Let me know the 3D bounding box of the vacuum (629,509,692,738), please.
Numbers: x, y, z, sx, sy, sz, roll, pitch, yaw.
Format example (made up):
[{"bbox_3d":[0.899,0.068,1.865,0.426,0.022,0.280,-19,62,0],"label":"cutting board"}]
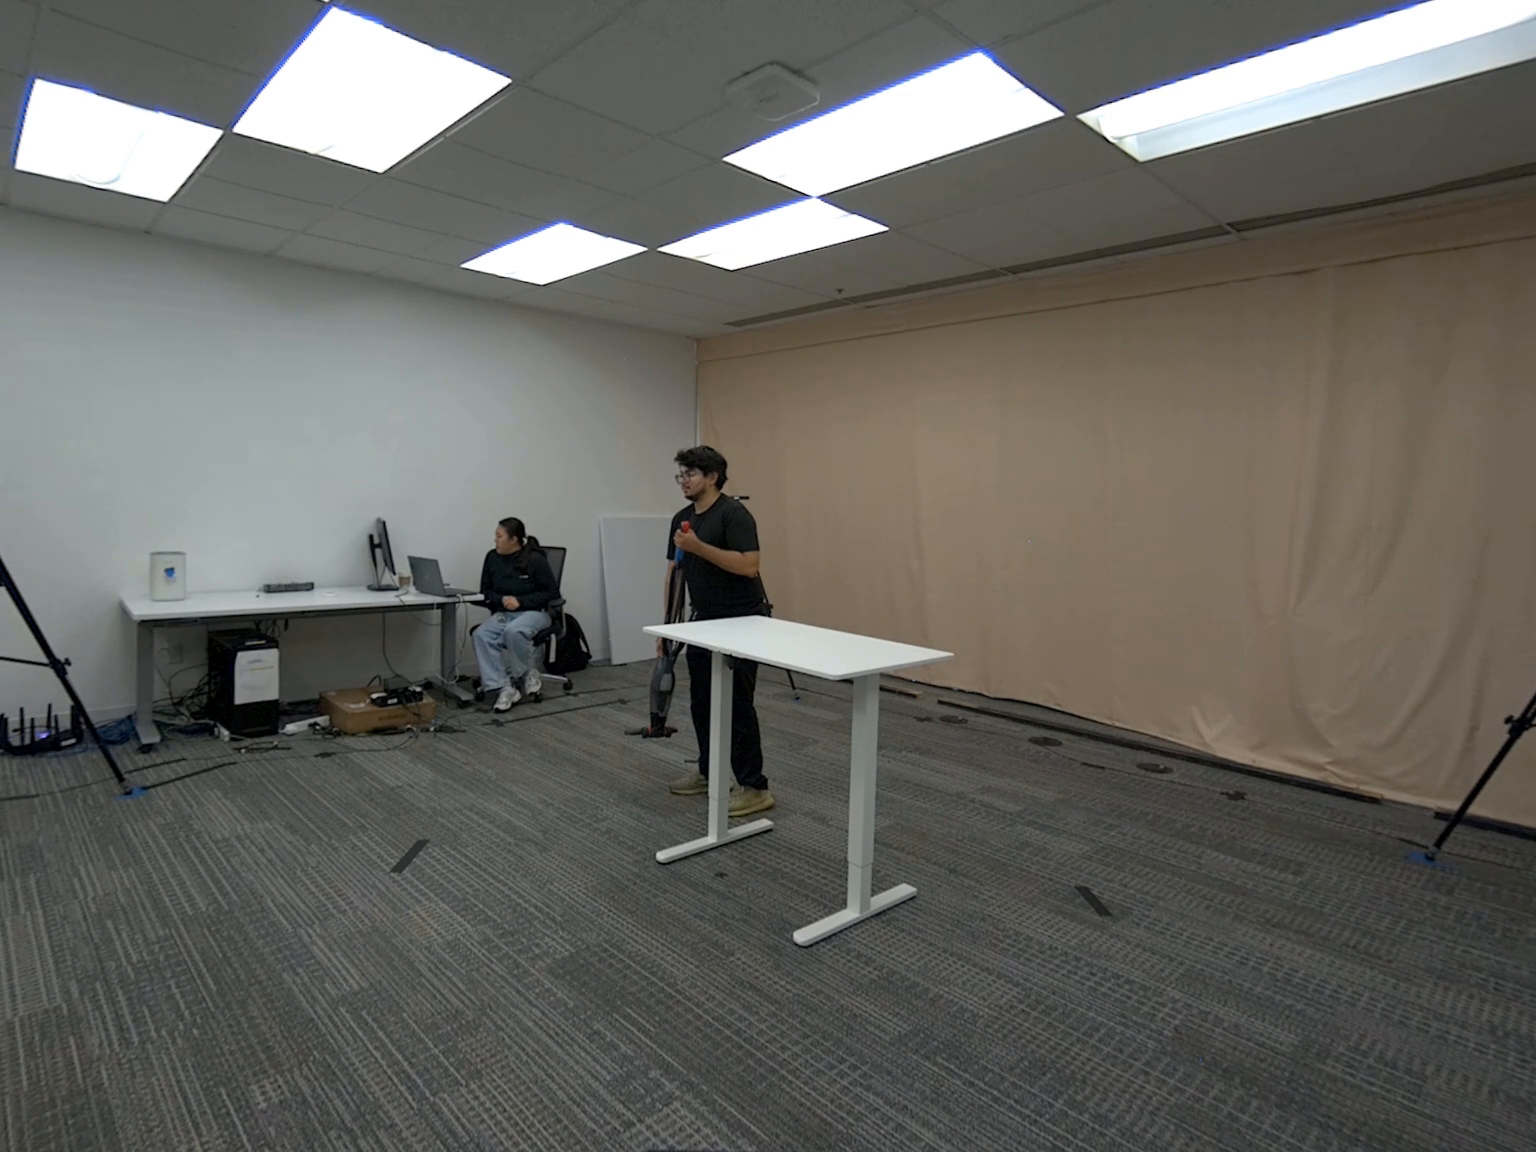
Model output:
[{"bbox_3d":[-0.456,0.263,3.741,0.248,1.037,0.148,2,22,-23],"label":"vacuum"}]
